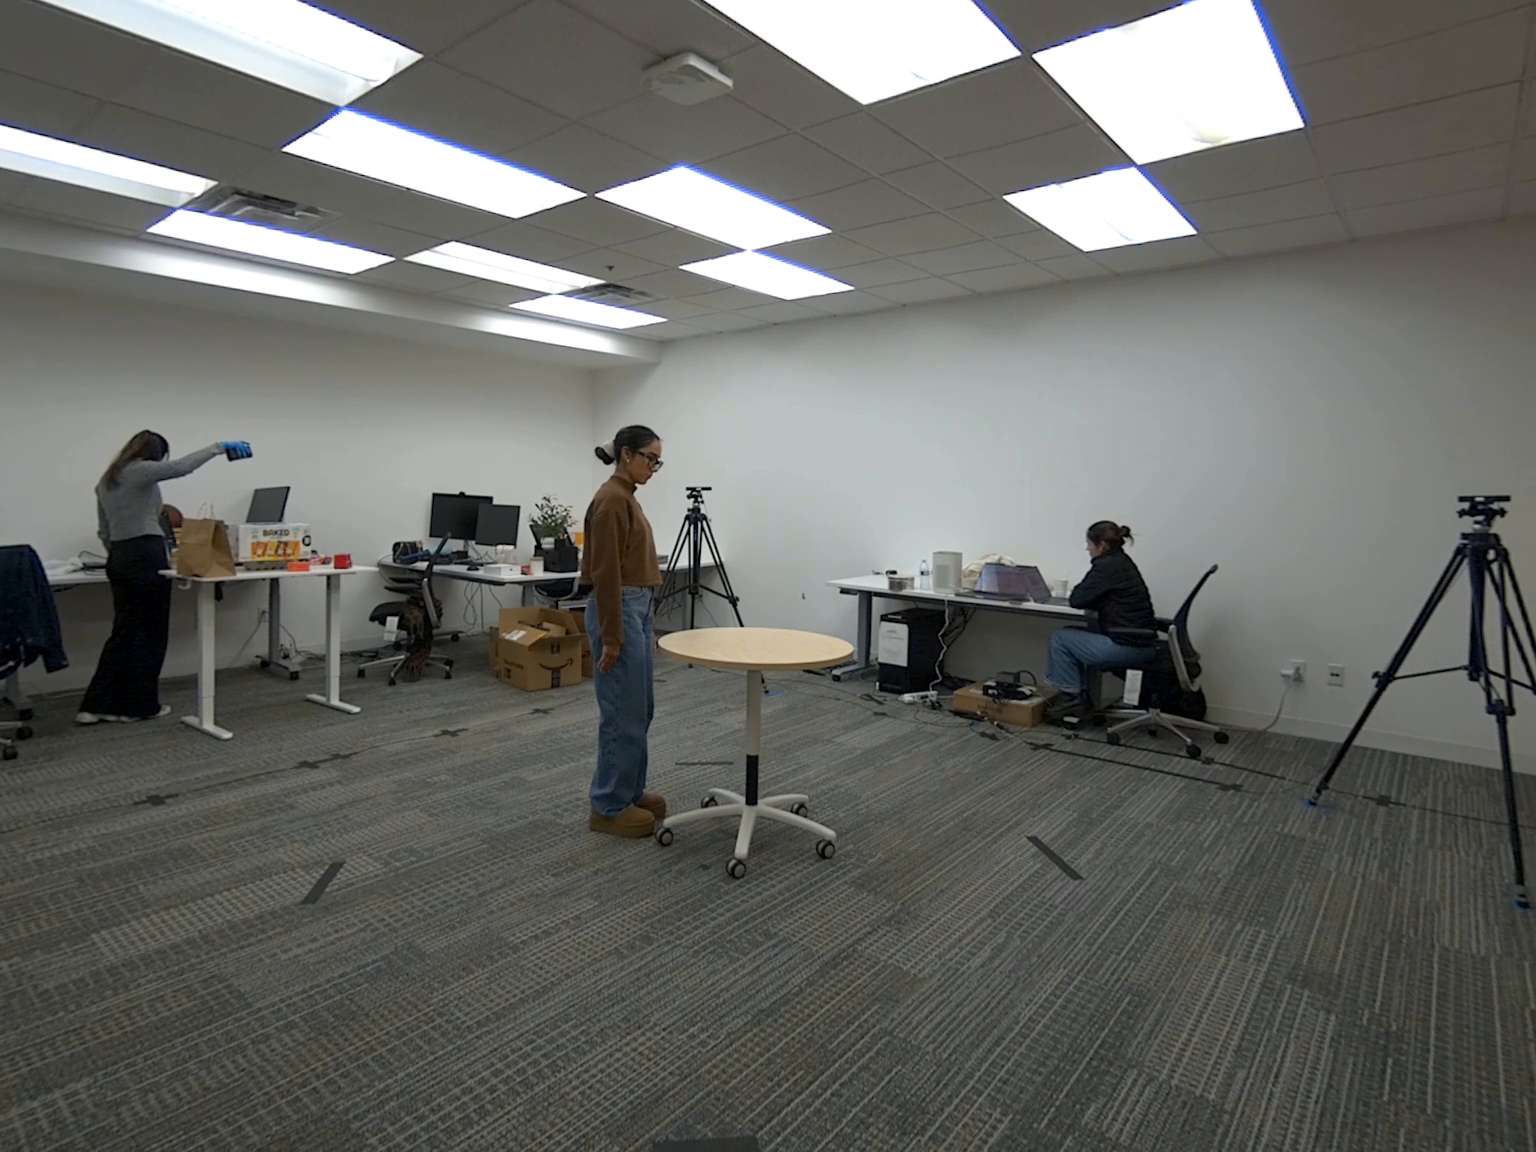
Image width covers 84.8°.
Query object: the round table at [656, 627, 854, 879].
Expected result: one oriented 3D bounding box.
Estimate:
[{"bbox_3d":[-0.072,0.654,3.363,0.763,0.791,0.768,1,4,-2],"label":"round table"}]
